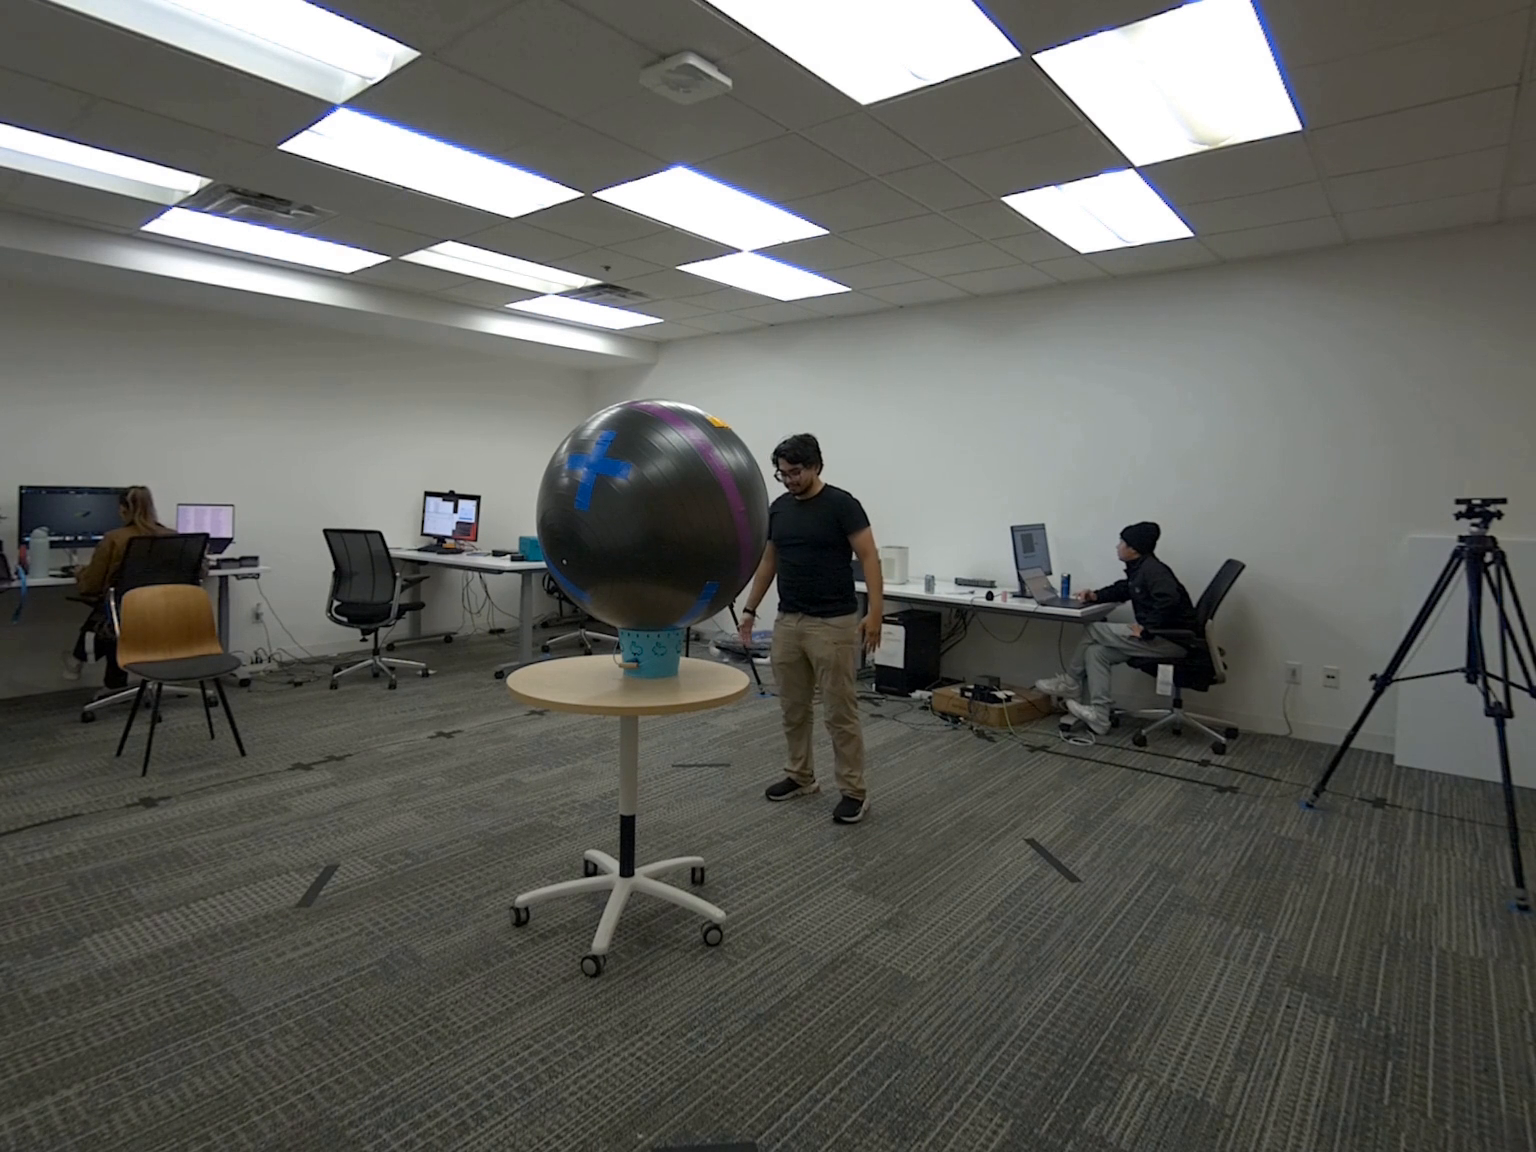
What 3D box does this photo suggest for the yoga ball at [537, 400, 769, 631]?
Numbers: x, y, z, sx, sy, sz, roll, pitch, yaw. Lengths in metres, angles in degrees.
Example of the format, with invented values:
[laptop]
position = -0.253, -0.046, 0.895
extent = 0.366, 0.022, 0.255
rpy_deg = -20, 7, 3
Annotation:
[yoga ball]
position = -0.377, -0.193, 2.780
extent = 0.757, 0.755, 0.762
rpy_deg = 1, 4, -2
